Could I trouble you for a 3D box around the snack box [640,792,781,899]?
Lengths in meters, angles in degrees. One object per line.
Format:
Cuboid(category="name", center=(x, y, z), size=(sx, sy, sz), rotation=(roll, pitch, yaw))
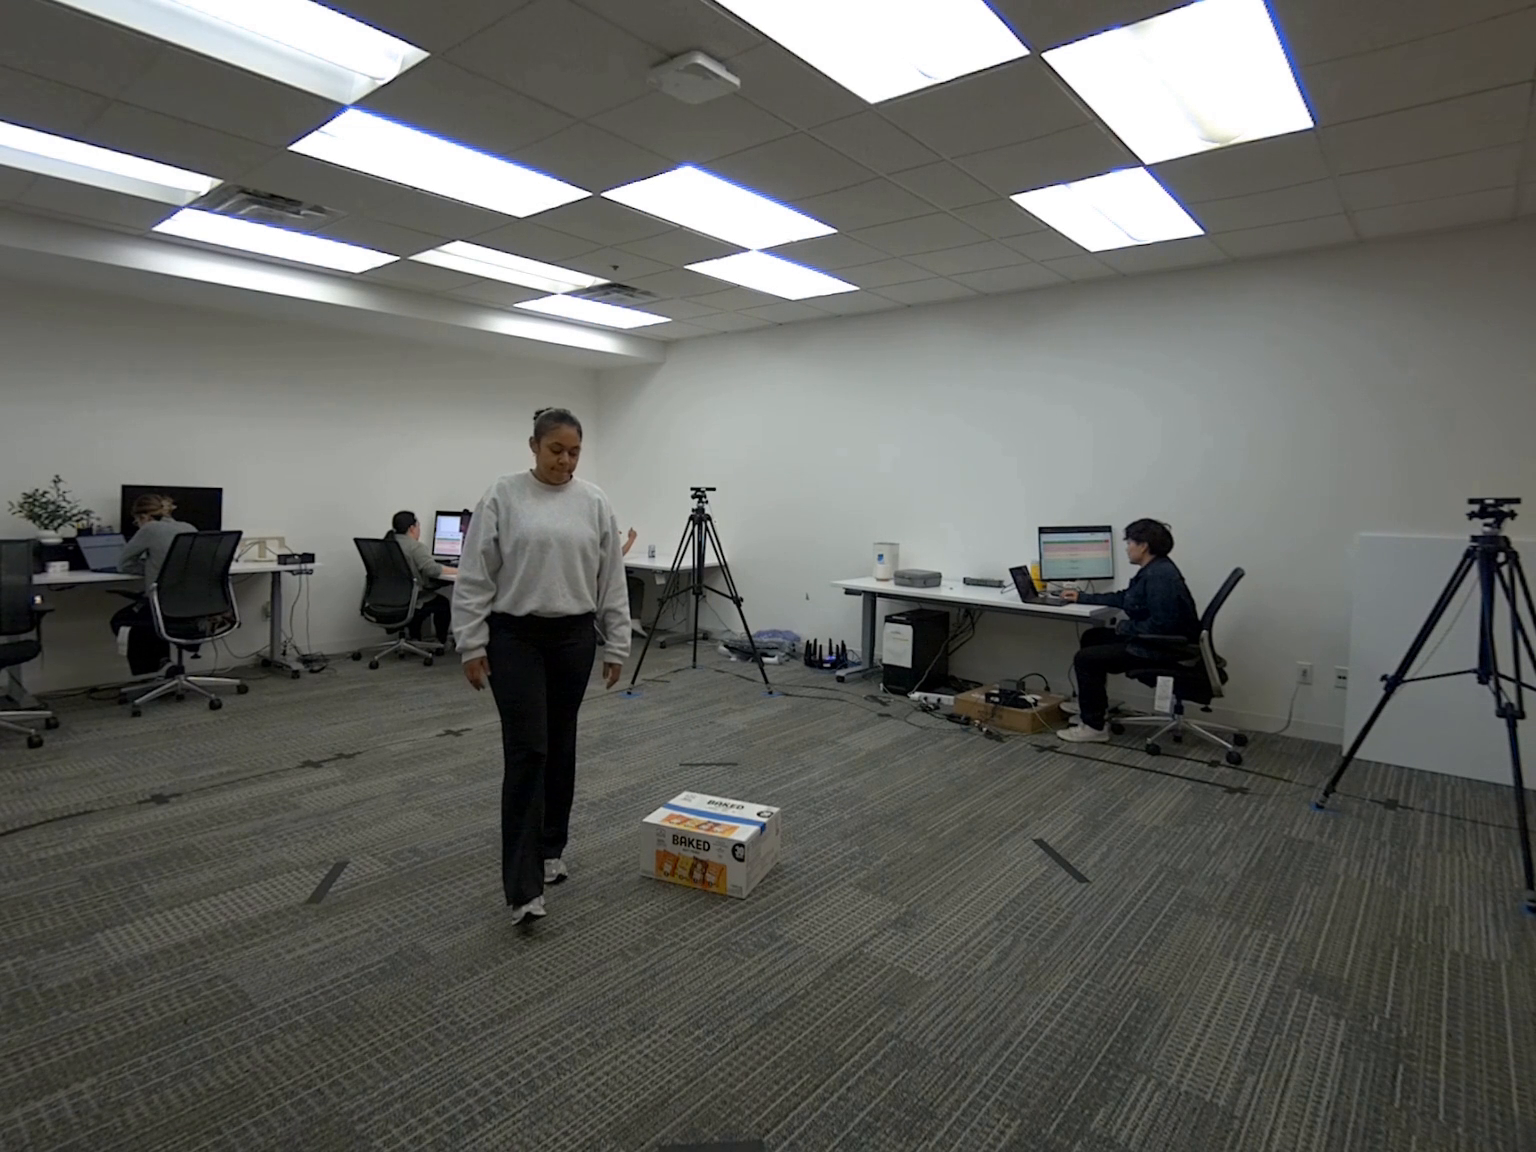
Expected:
Cuboid(category="snack box", center=(-0.214, 0.966, 3.099), size=(0.415, 0.205, 0.333), rotation=(3, 6, 23))
